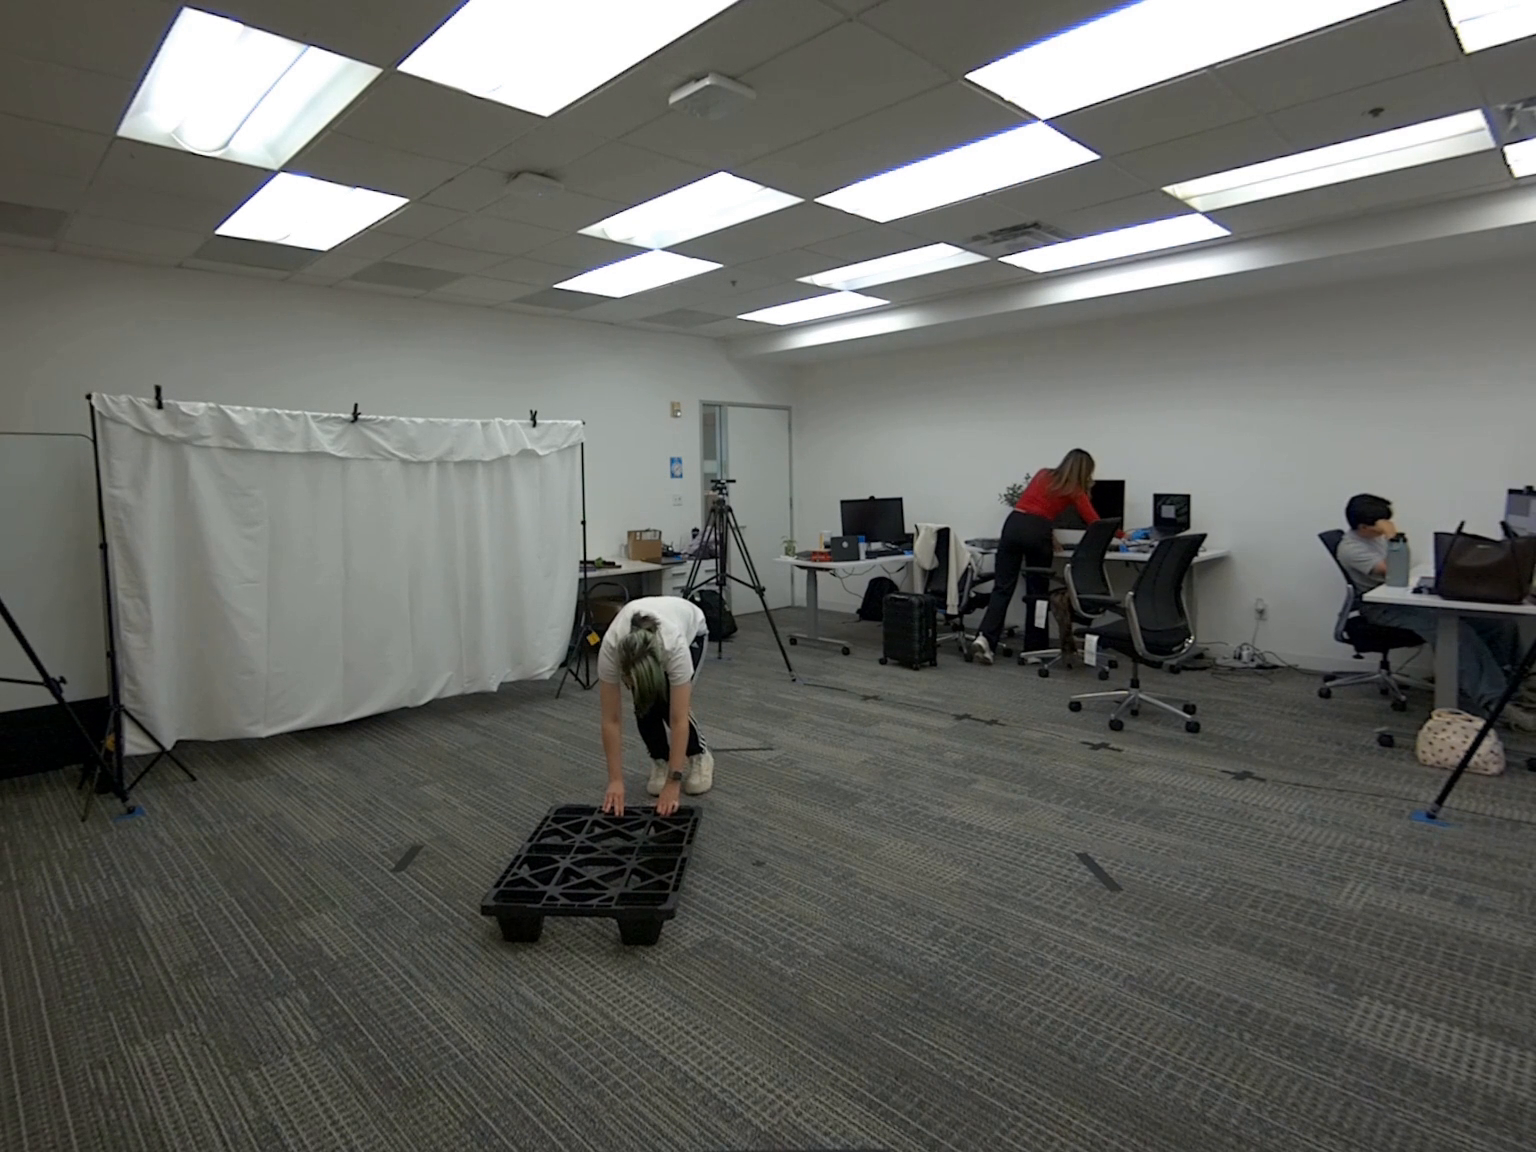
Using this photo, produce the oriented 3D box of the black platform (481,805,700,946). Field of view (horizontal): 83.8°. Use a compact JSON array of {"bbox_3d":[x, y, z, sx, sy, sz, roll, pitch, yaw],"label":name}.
[{"bbox_3d":[-0.563,1.008,2.951,0.608,0.142,0.806,-2,7,3],"label":"black platform"}]
